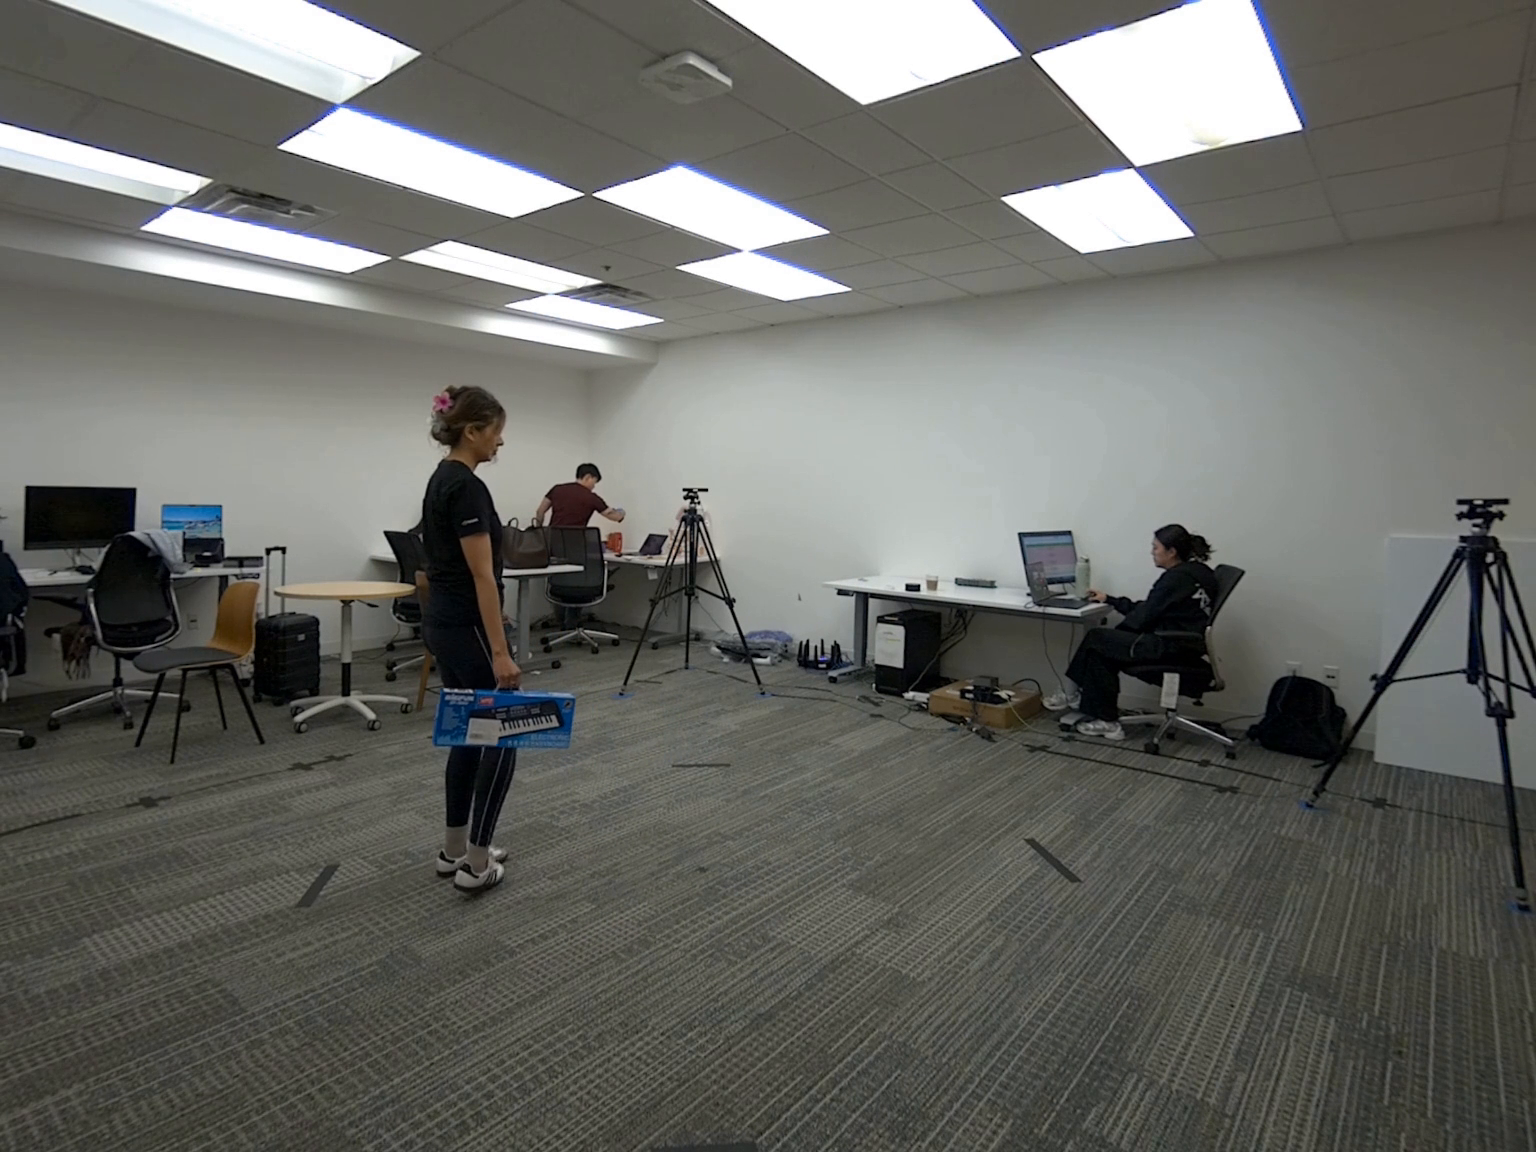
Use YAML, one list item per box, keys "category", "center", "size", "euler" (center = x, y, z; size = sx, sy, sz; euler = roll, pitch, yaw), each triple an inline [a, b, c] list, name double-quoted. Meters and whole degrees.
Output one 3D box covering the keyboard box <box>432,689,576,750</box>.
- category: "keyboard box"
  center: [-0.869, 0.465, 2.766]
  size: [0.425, 0.176, 0.061]
  euler: [7, 0, -25]
